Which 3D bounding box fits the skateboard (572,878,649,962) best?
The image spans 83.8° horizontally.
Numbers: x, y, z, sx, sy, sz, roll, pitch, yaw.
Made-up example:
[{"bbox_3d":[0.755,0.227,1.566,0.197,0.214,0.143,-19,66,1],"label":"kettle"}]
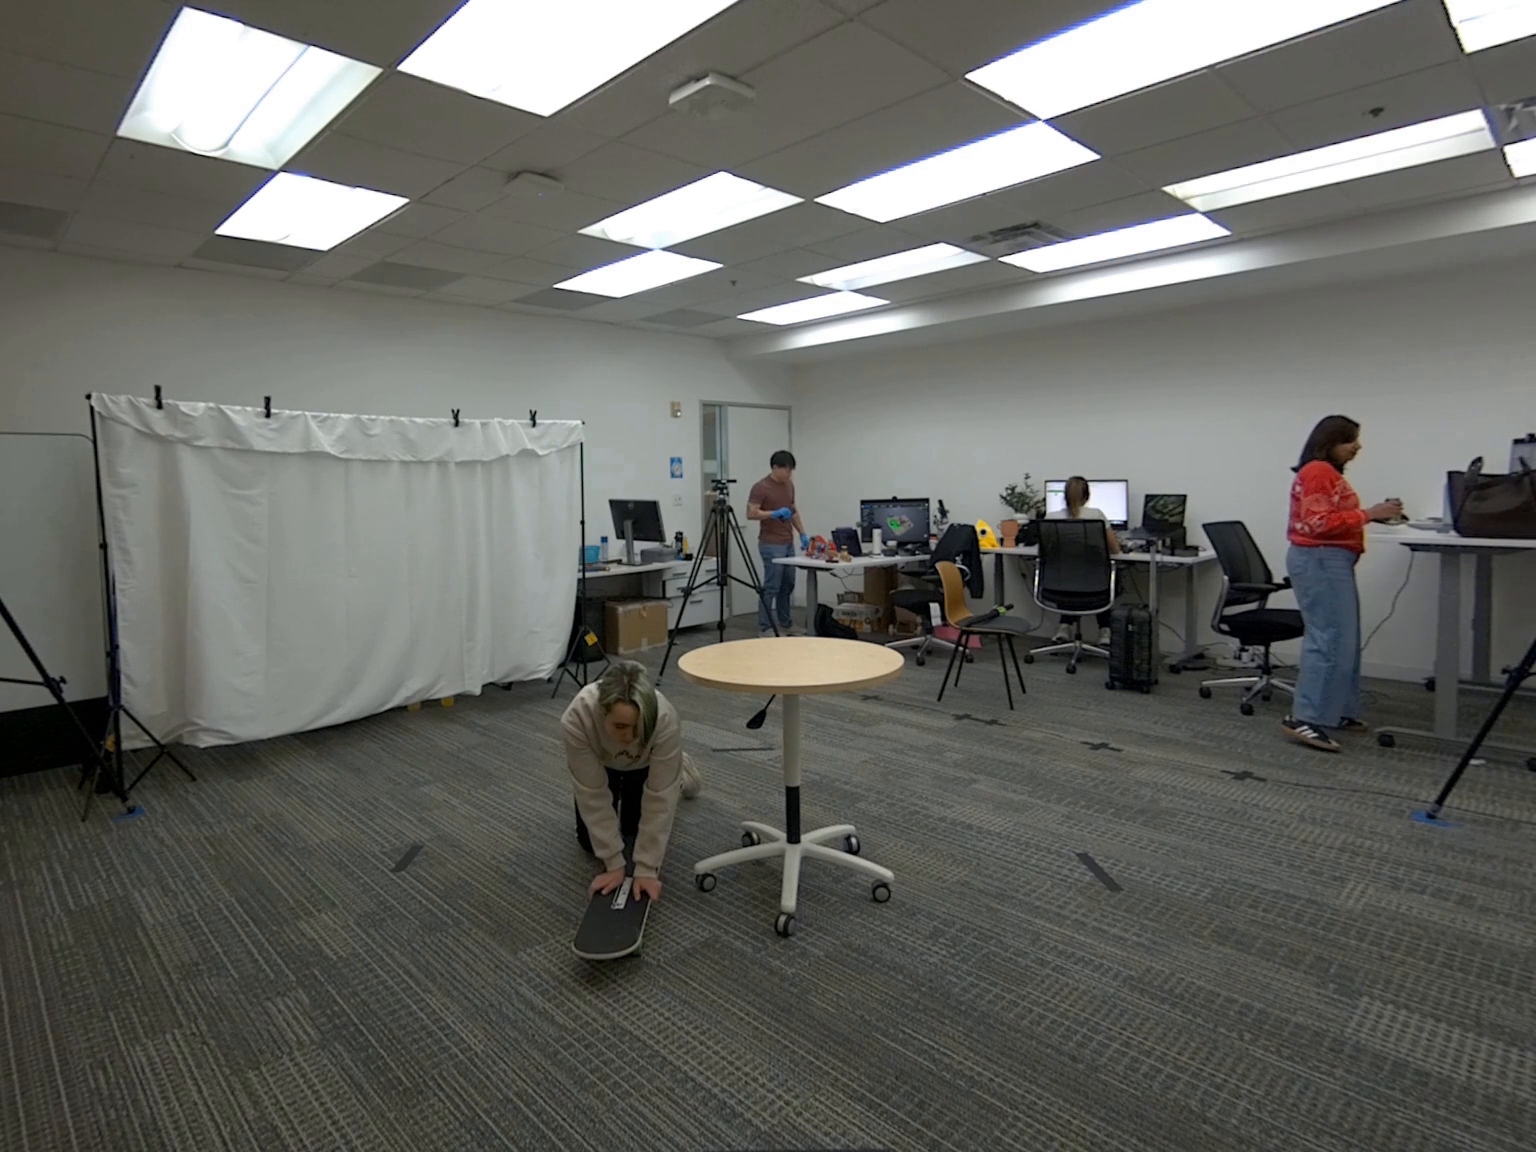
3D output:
[{"bbox_3d":[-0.459,1.046,2.730,0.194,0.110,0.787,-2,7,1],"label":"skateboard"}]
